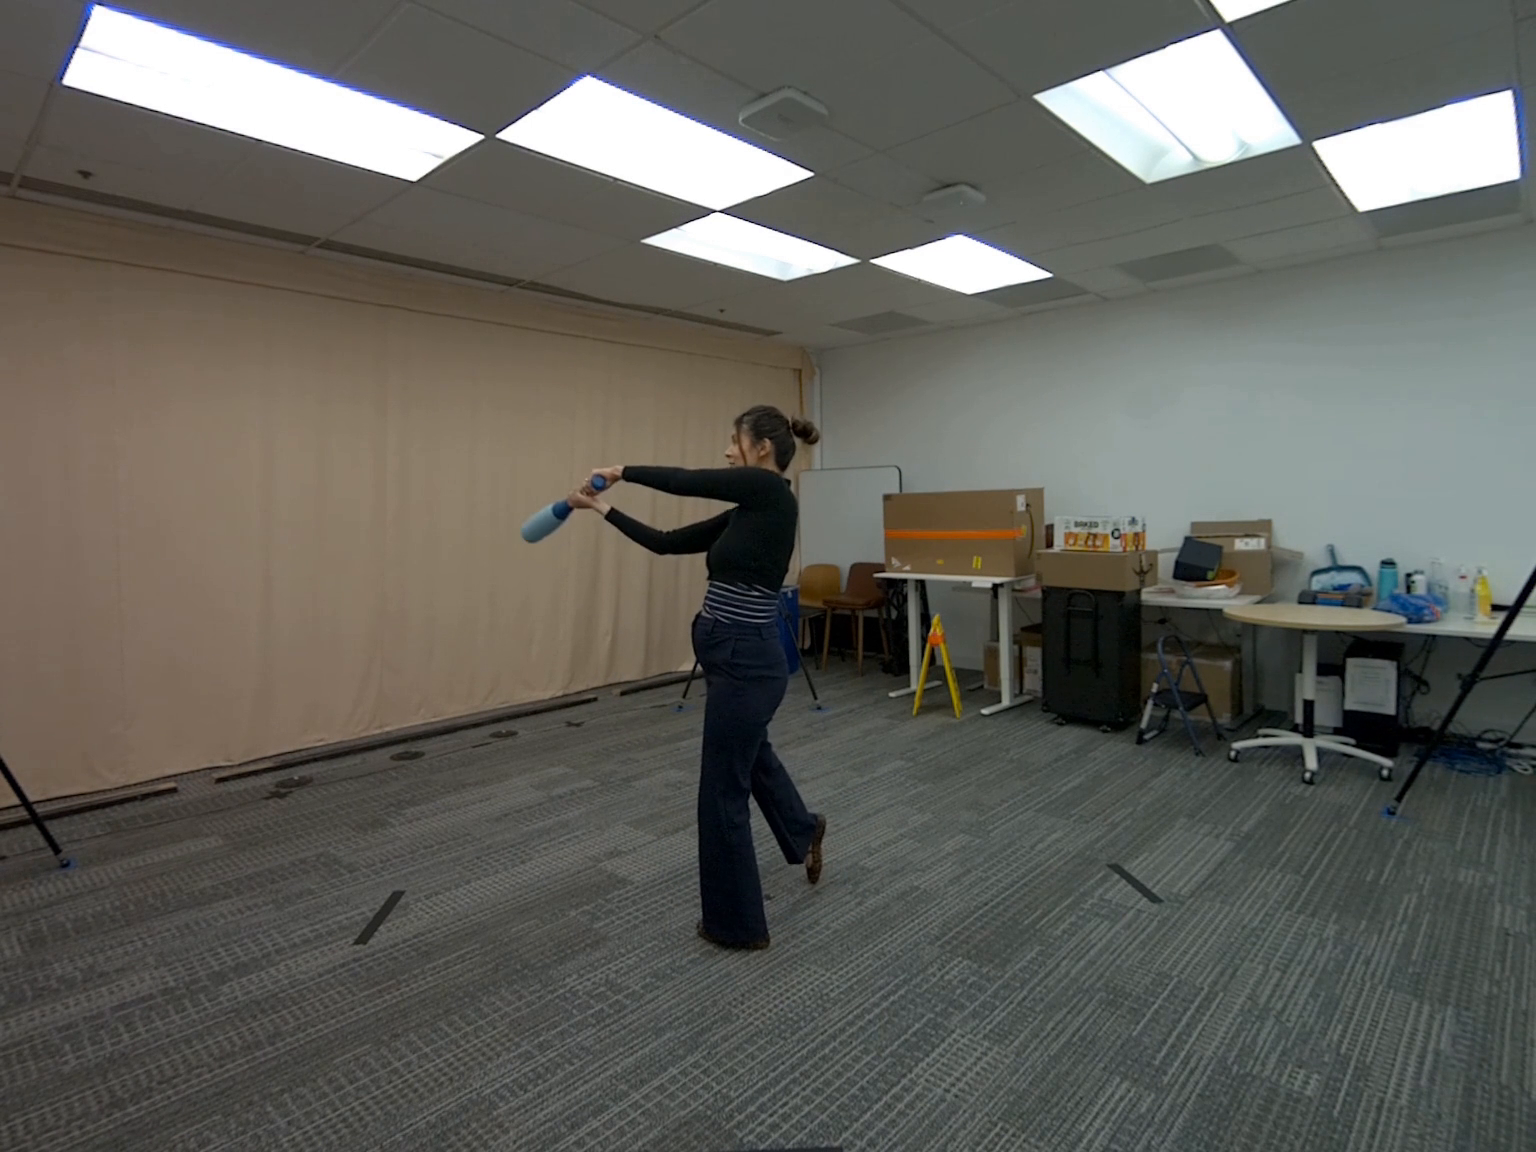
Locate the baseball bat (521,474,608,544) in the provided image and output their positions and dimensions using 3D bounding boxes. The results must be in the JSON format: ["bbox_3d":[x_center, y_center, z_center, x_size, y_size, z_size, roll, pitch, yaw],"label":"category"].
[{"bbox_3d":[-0.696,-0.230,2.925,0.086,0.090,0.554,-4,-14,-41],"label":"baseball bat"}]
